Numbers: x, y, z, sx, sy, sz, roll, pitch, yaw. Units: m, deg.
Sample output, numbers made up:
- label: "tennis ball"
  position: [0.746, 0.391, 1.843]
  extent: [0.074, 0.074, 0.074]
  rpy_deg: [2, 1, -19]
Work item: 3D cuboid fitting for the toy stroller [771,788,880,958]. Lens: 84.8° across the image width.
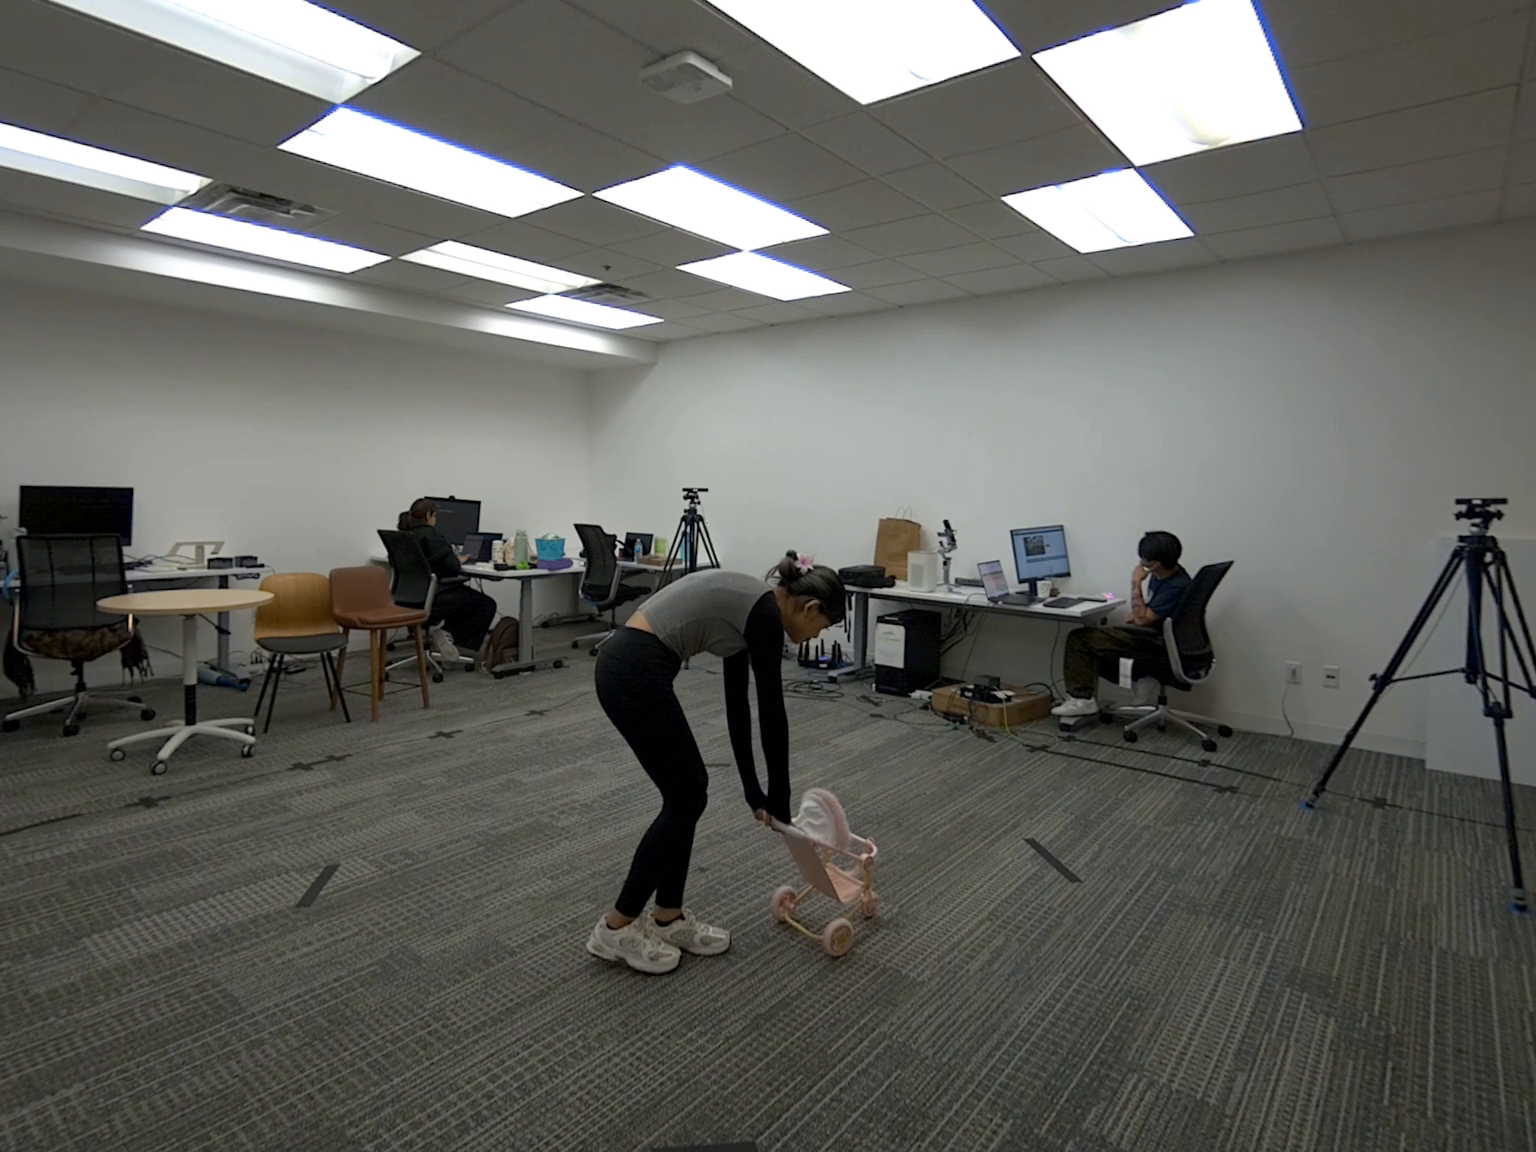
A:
- label: "toy stroller"
  position: [0.173, 0.894, 2.673]
  extent: [0.335, 0.527, 0.290]
  rpy_deg: [-21, 14, -30]
